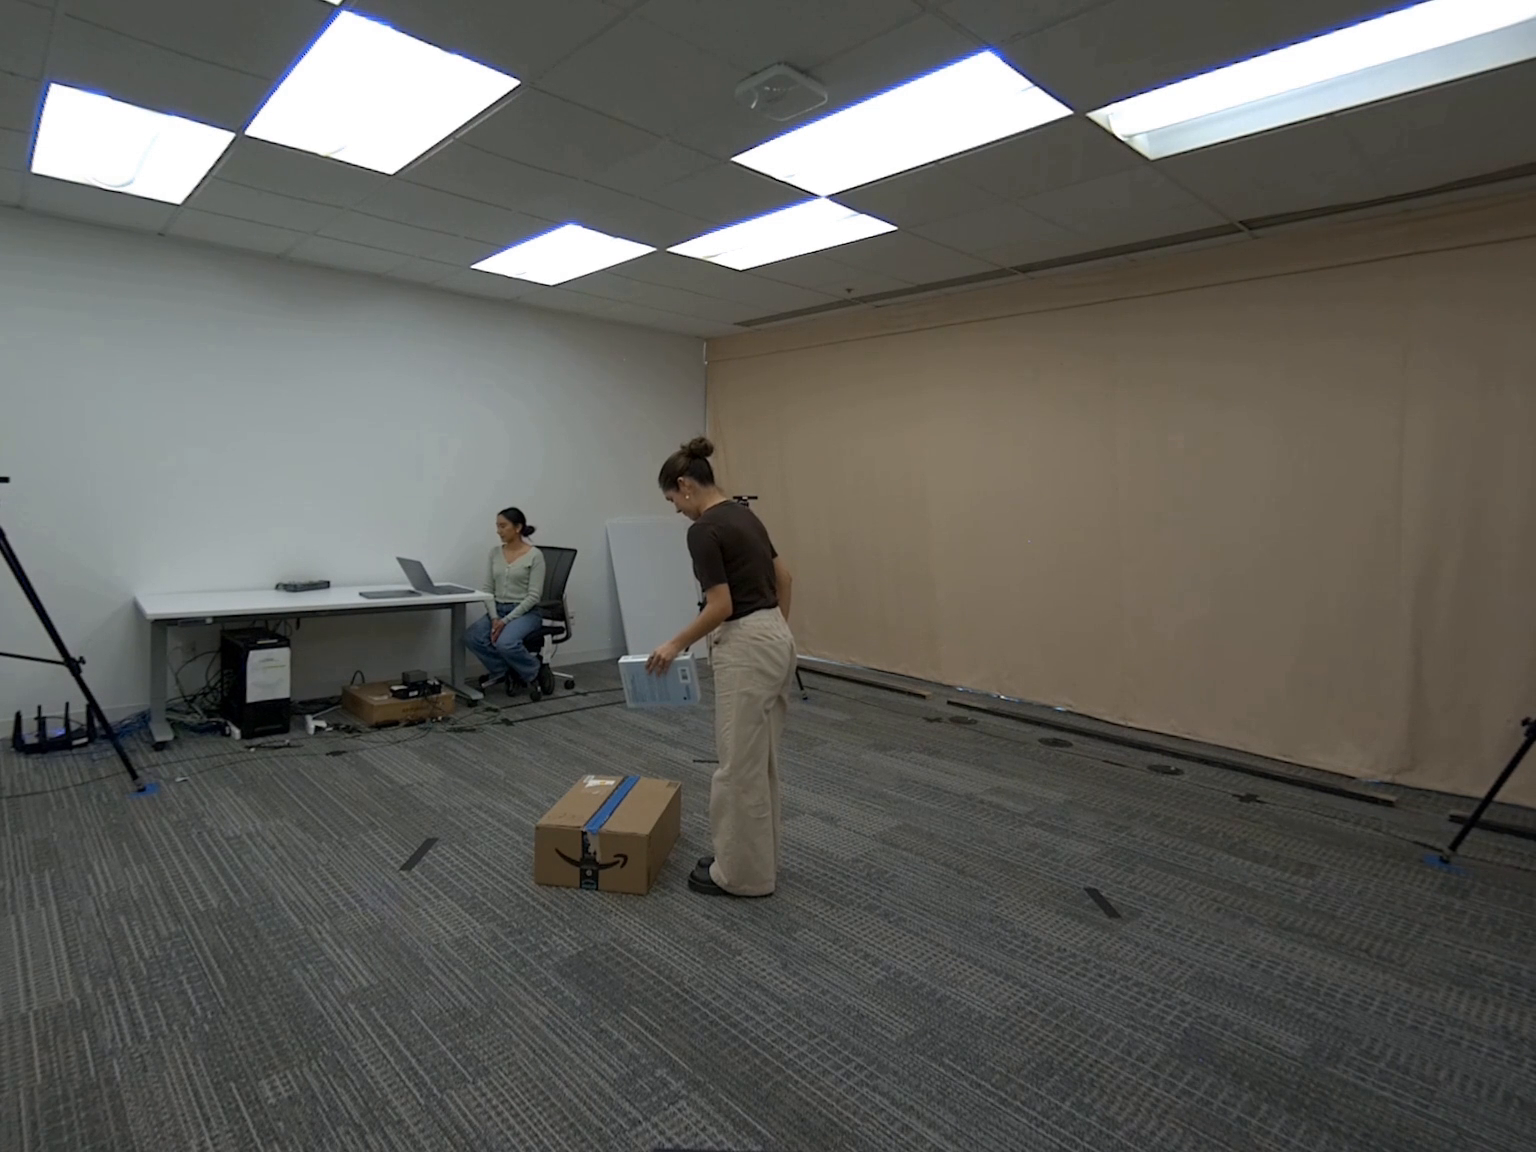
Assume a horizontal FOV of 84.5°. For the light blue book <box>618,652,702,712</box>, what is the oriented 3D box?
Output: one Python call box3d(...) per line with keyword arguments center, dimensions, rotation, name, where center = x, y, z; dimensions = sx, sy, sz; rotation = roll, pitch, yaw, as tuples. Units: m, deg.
box3d(center=(-0.379, 0.370, 2.960), dimensions=(0.263, 0.189, 0.059), rotation=(-3, 15, 10), name="light blue book")
